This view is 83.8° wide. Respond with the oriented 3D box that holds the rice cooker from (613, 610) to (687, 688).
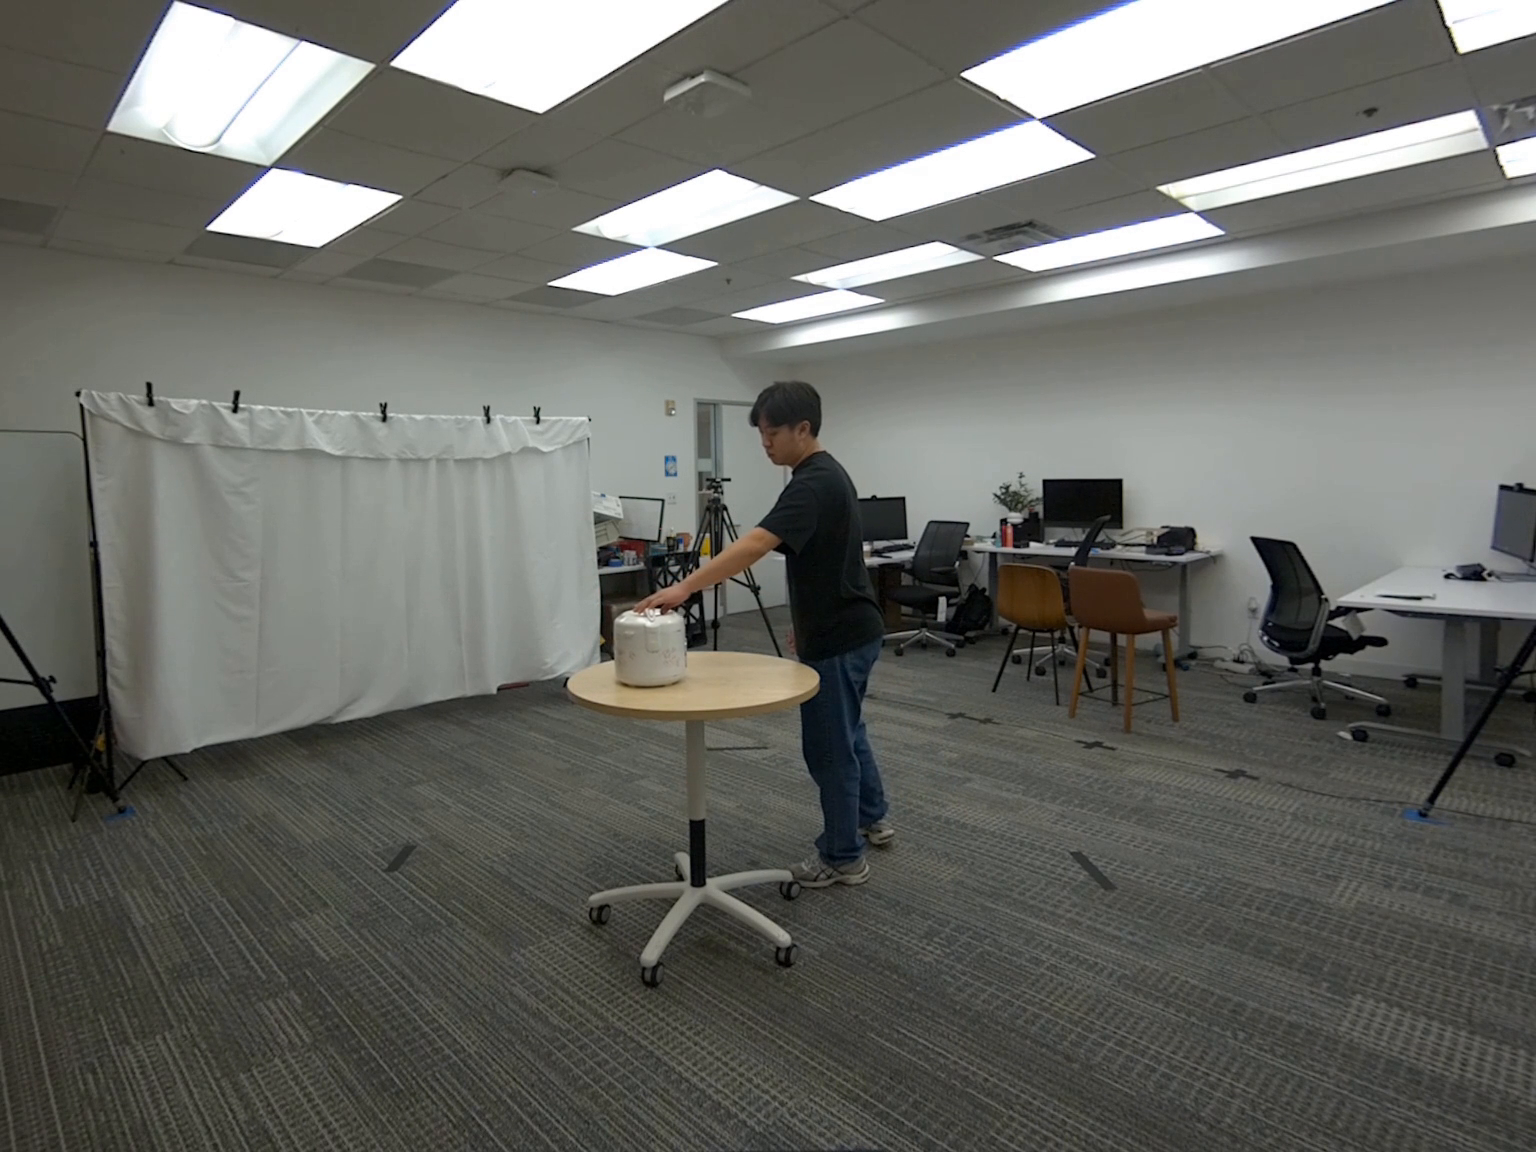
[{"bbox_3d":[-0.351,0.200,2.562,0.215,0.232,0.224,-1,6,-11],"label":"rice cooker"}]
